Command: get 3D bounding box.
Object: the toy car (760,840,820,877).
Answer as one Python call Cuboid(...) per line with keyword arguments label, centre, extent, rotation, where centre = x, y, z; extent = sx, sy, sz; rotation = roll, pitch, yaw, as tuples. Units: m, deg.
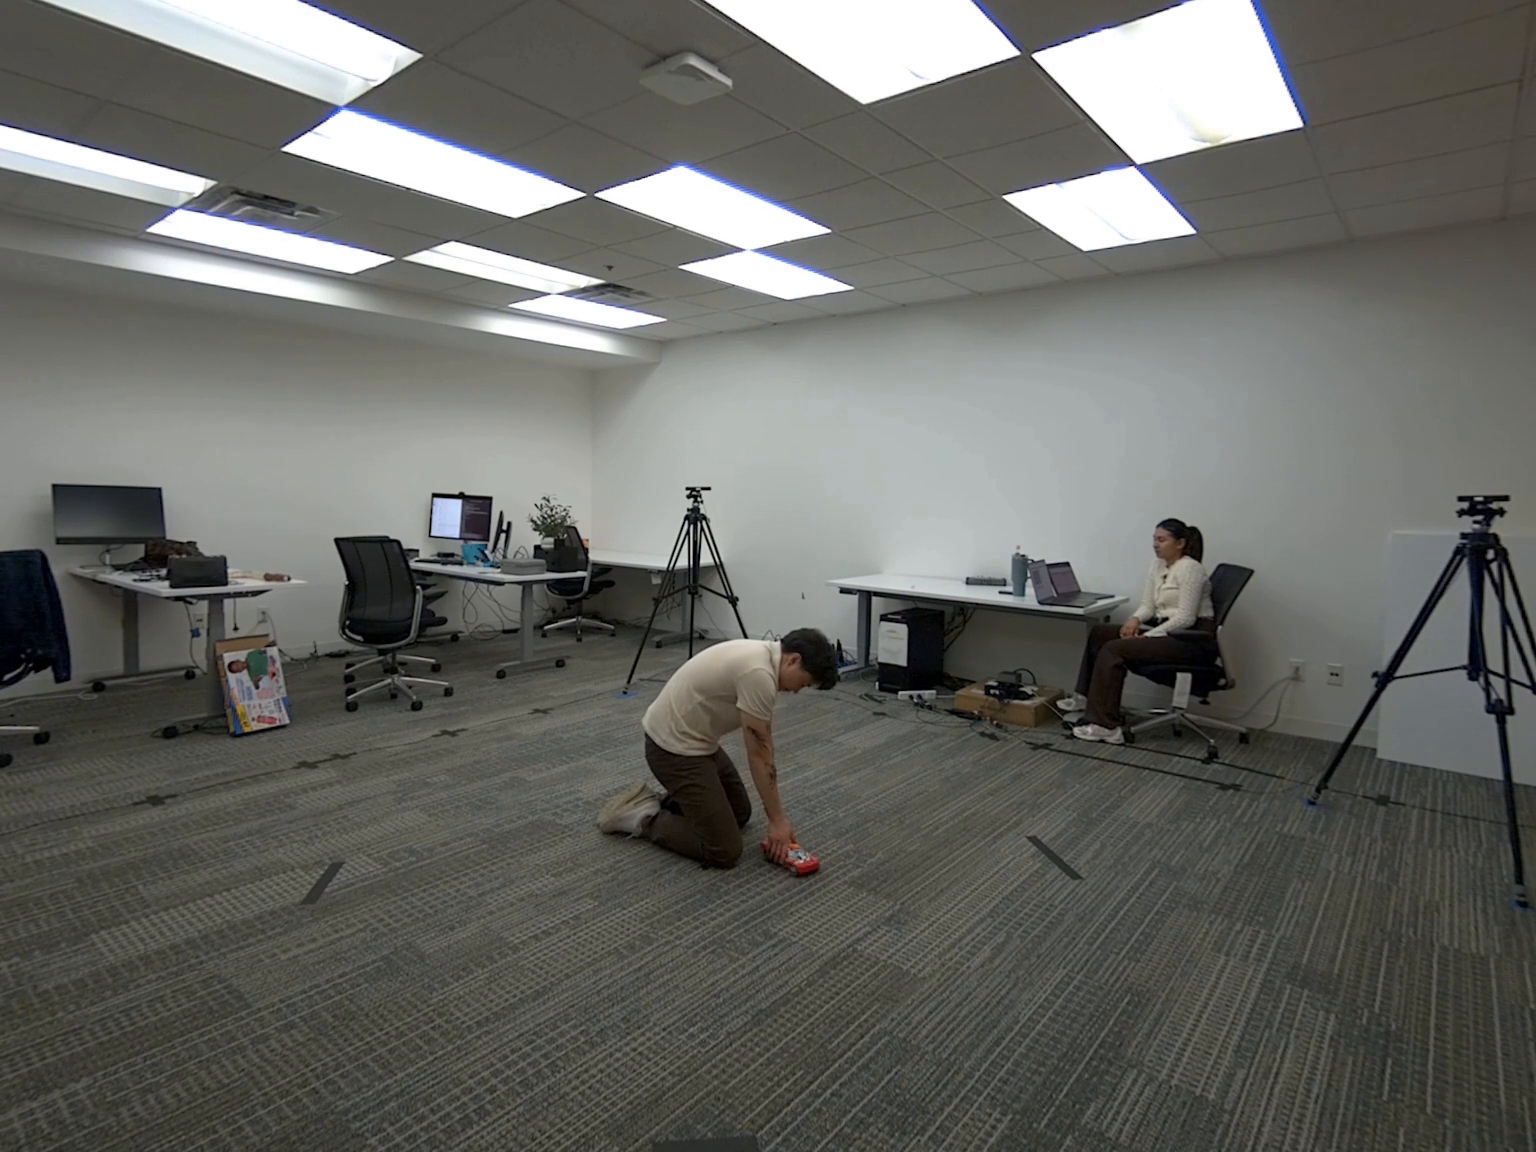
Cuboid(label="toy car", centre=(0.074, 1.039, 3.176), extent=(0.126, 0.082, 0.264), rotation=(0, 14, -36))
